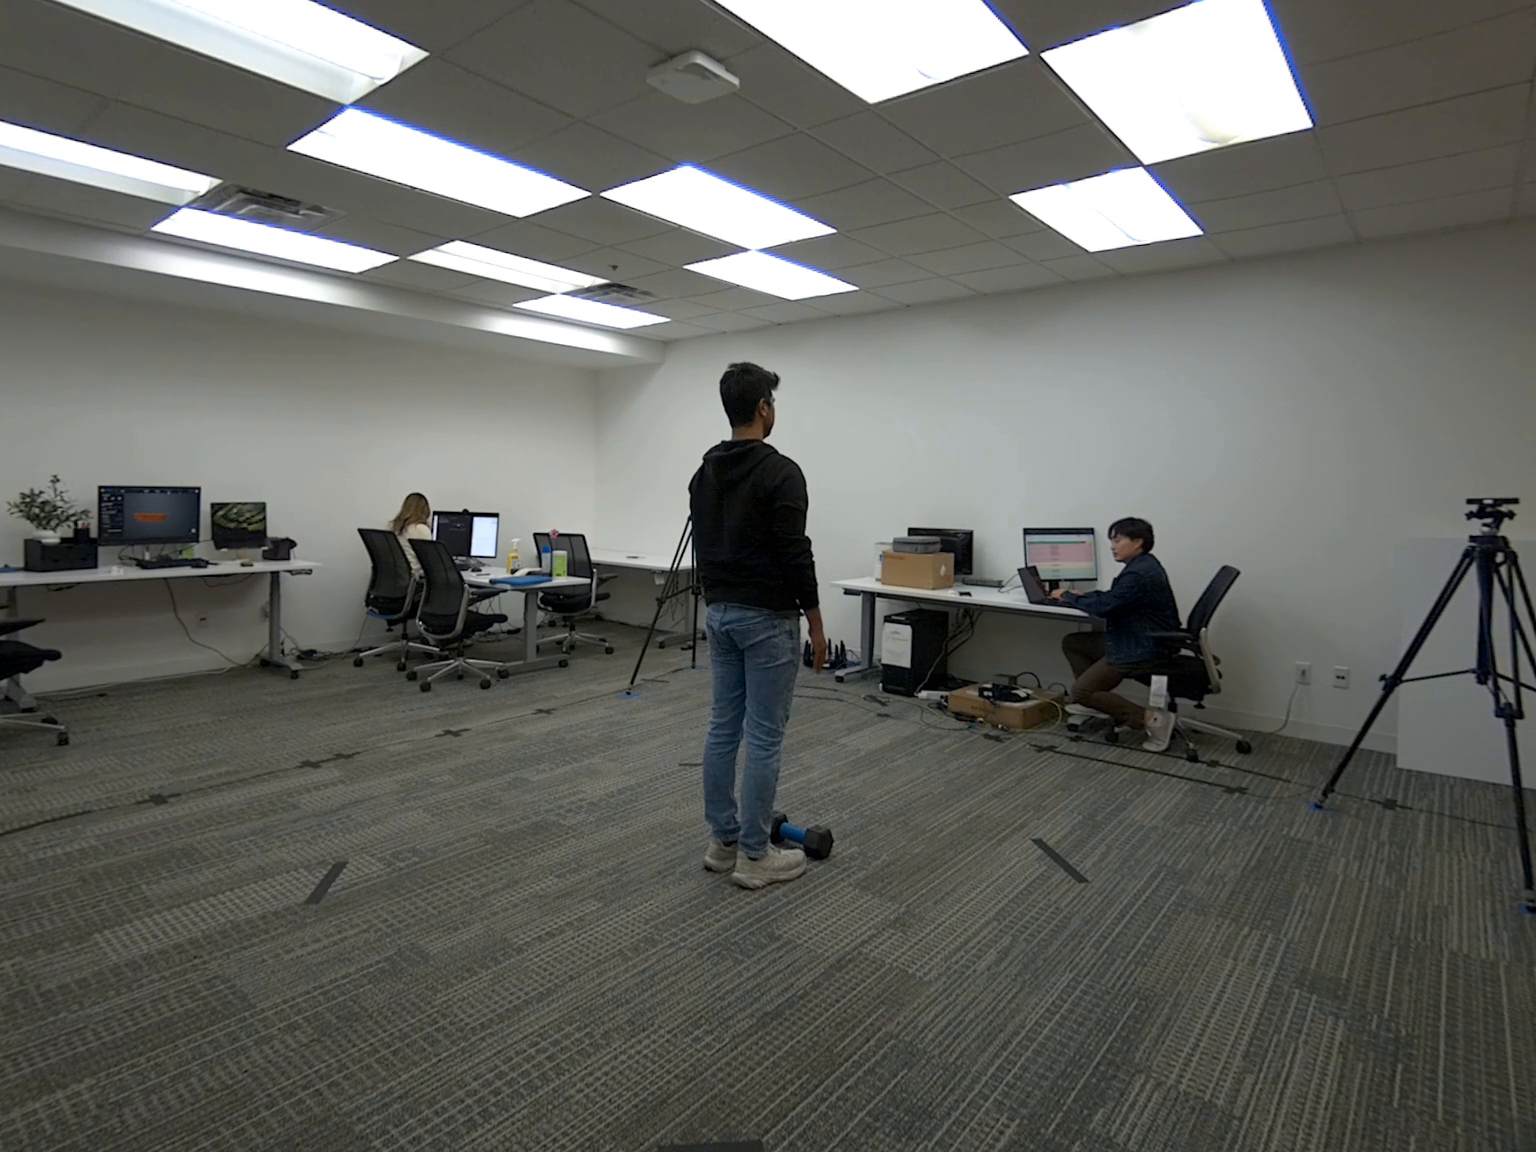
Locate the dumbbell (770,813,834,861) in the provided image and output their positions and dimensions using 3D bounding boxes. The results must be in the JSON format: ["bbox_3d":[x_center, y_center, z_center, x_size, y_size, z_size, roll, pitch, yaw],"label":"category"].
[{"bbox_3d":[0.099,0.999,3.305,0.303,0.108,0.119,5,5,40],"label":"dumbbell"}]
